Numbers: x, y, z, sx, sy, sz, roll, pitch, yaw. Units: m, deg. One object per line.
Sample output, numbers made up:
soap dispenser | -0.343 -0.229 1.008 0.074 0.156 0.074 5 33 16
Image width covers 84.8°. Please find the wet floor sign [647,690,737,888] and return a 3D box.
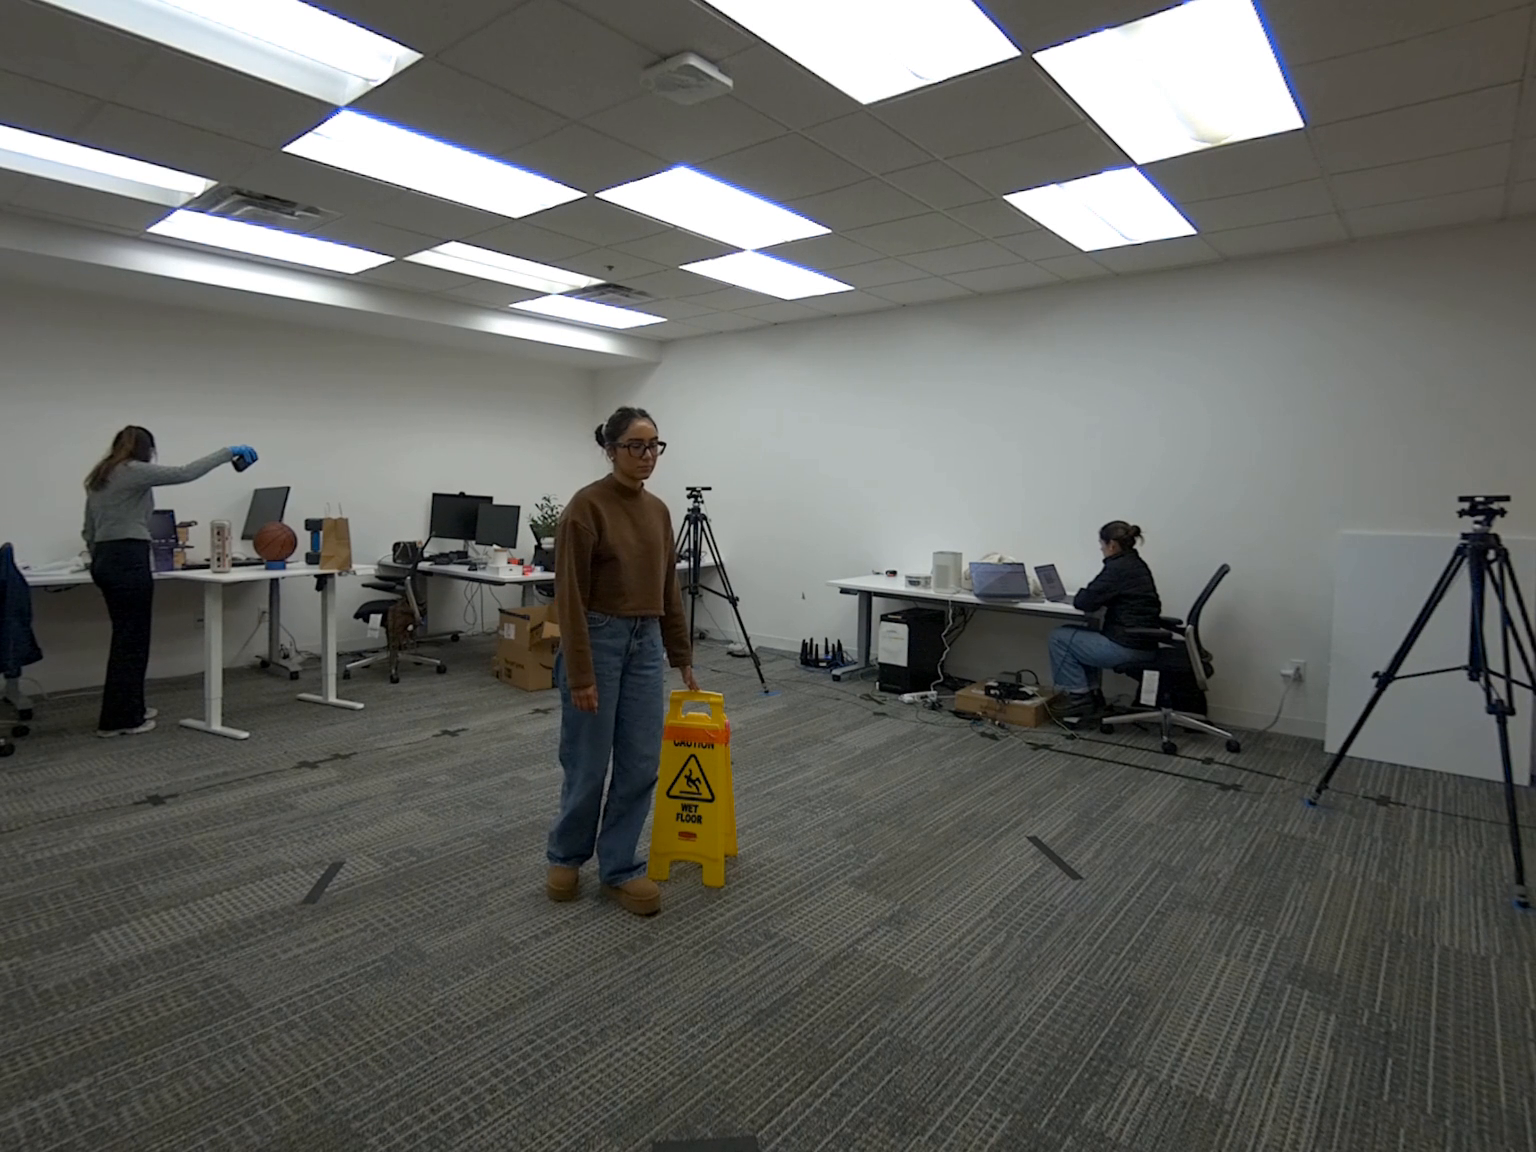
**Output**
wet floor sign | -0.279 0.742 3.100 0.286 0.644 0.287 0 3 10
